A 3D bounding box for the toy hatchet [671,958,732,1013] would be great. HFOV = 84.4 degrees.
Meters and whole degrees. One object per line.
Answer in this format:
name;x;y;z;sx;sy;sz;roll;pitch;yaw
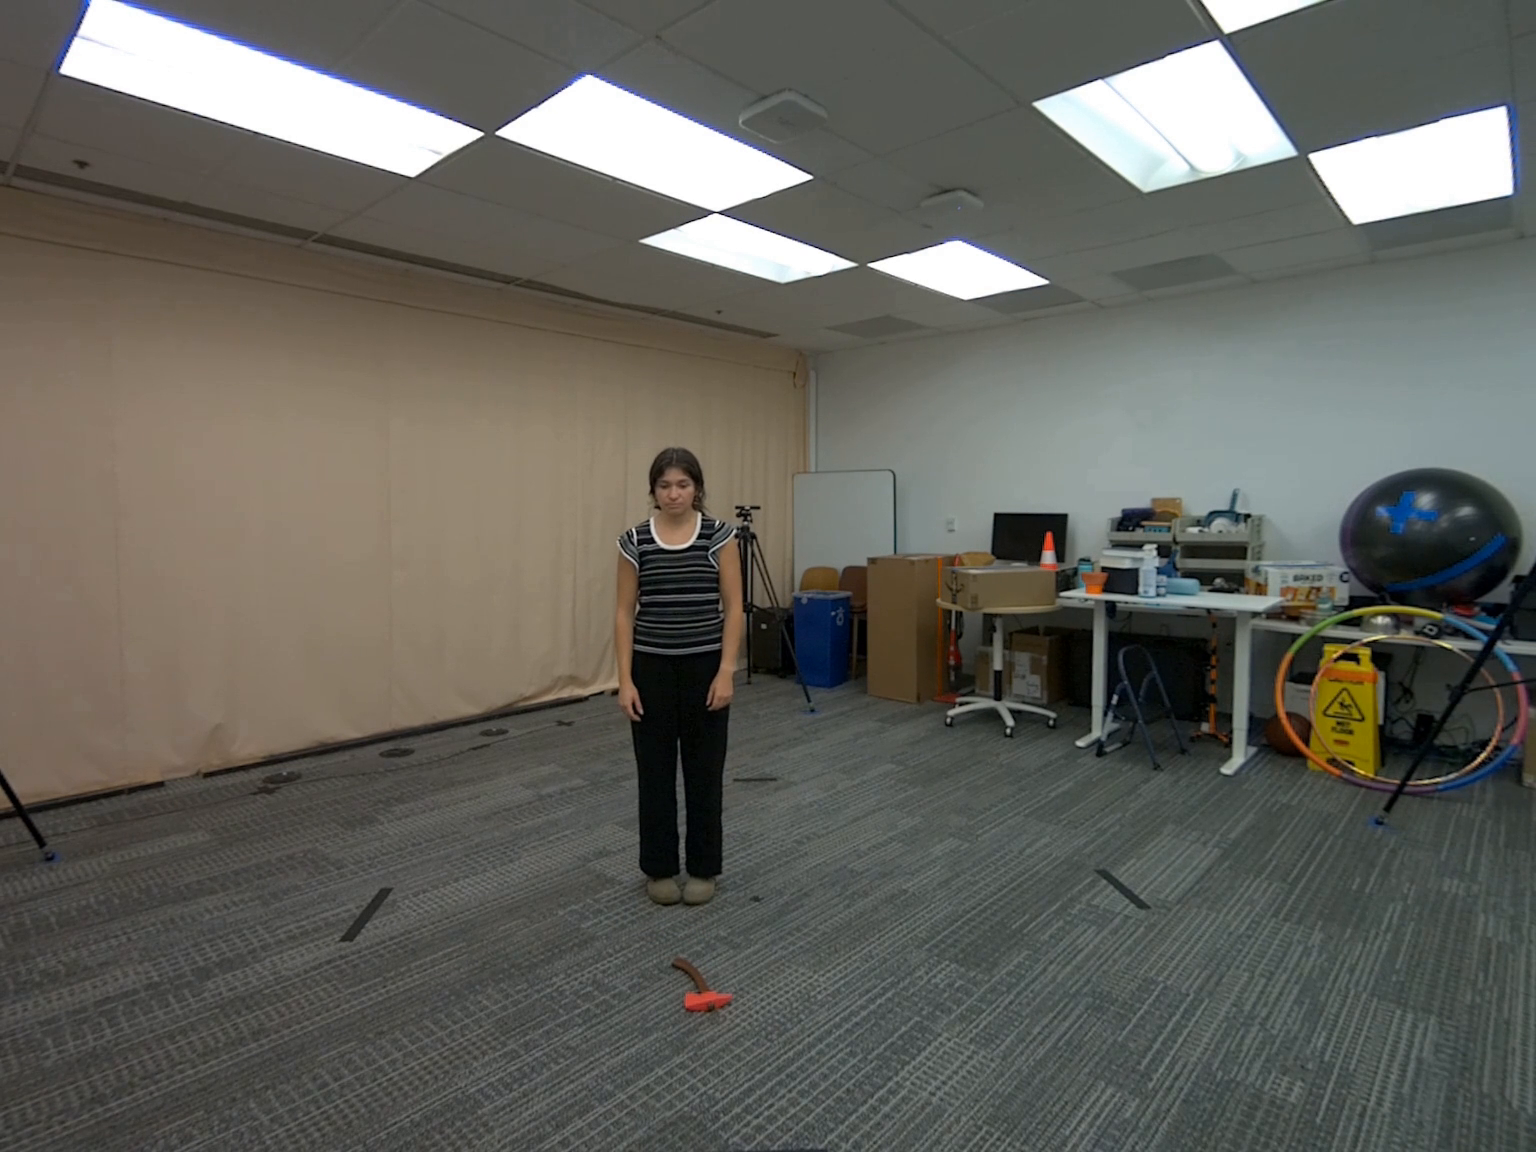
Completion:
toy hatchet;-0.225;1.176;2.424;0.127;0.029;0.278;-9;8;-37
